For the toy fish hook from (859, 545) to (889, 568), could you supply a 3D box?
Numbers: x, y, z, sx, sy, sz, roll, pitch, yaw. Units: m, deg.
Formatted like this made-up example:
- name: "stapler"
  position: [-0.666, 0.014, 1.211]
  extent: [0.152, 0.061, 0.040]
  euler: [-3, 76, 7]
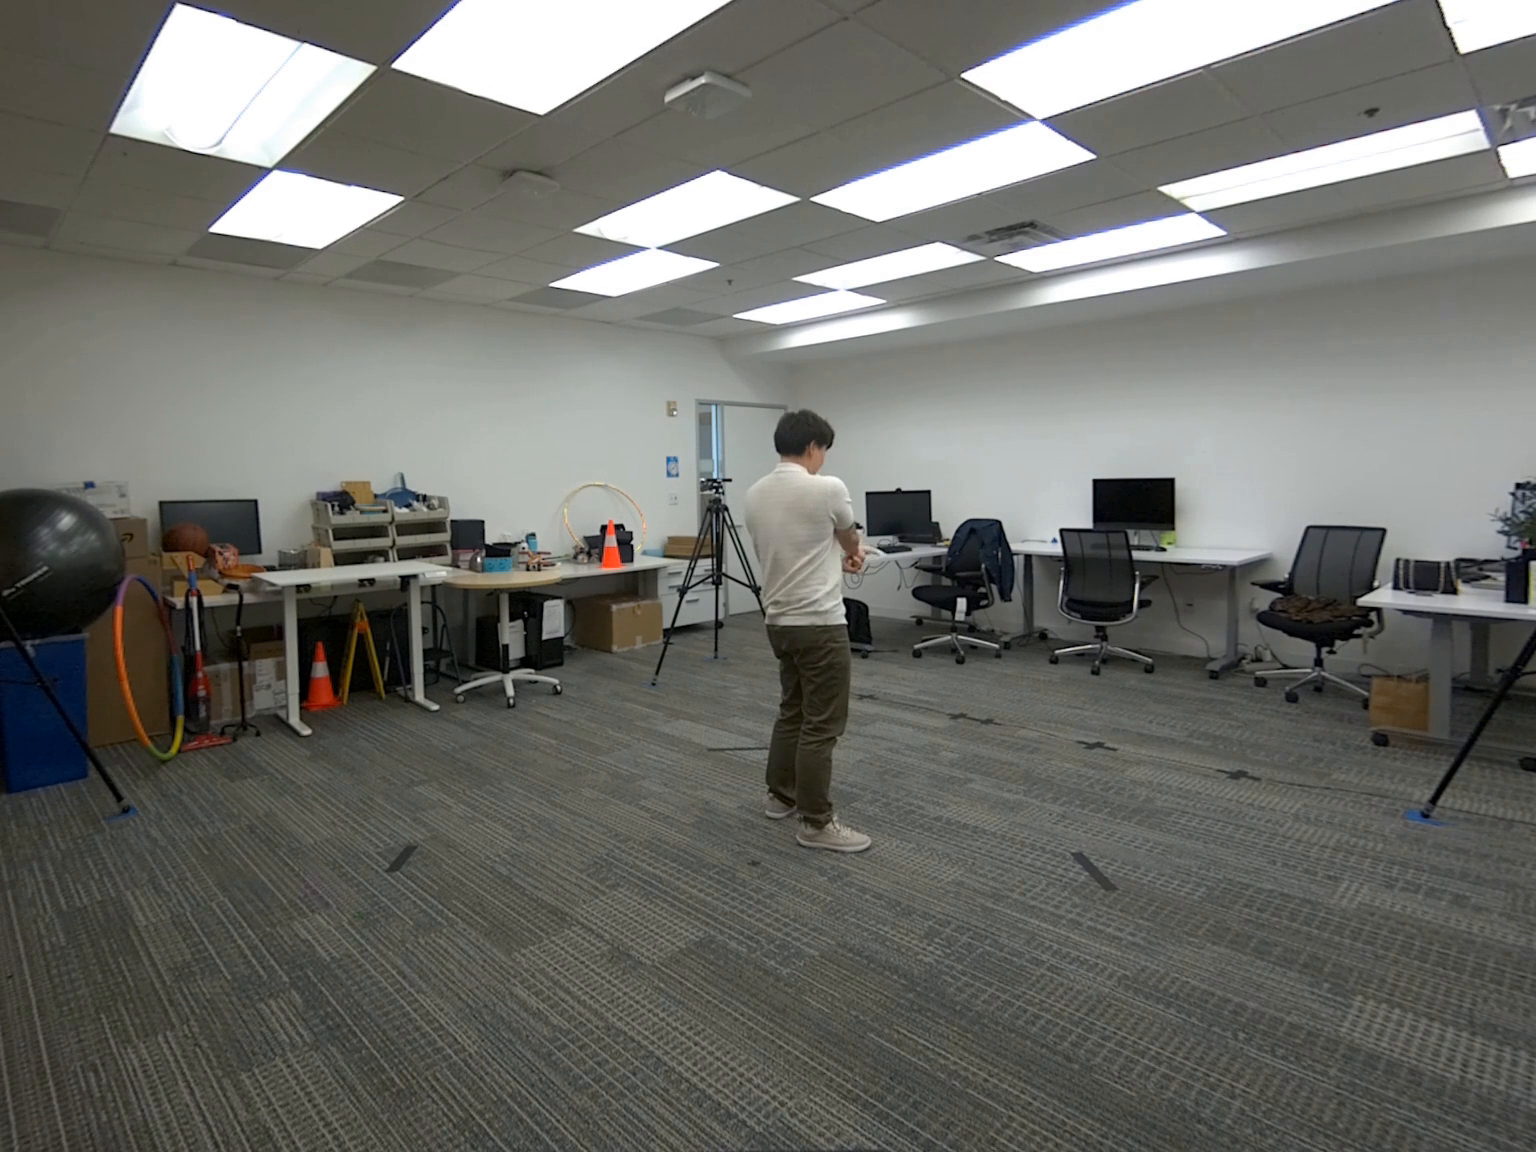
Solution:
- name: "toy fish hook"
  position: [0.445, -0.080, 3.813]
  extent: [0.227, 0.048, 0.505]
  euler: [7, 12, 10]
